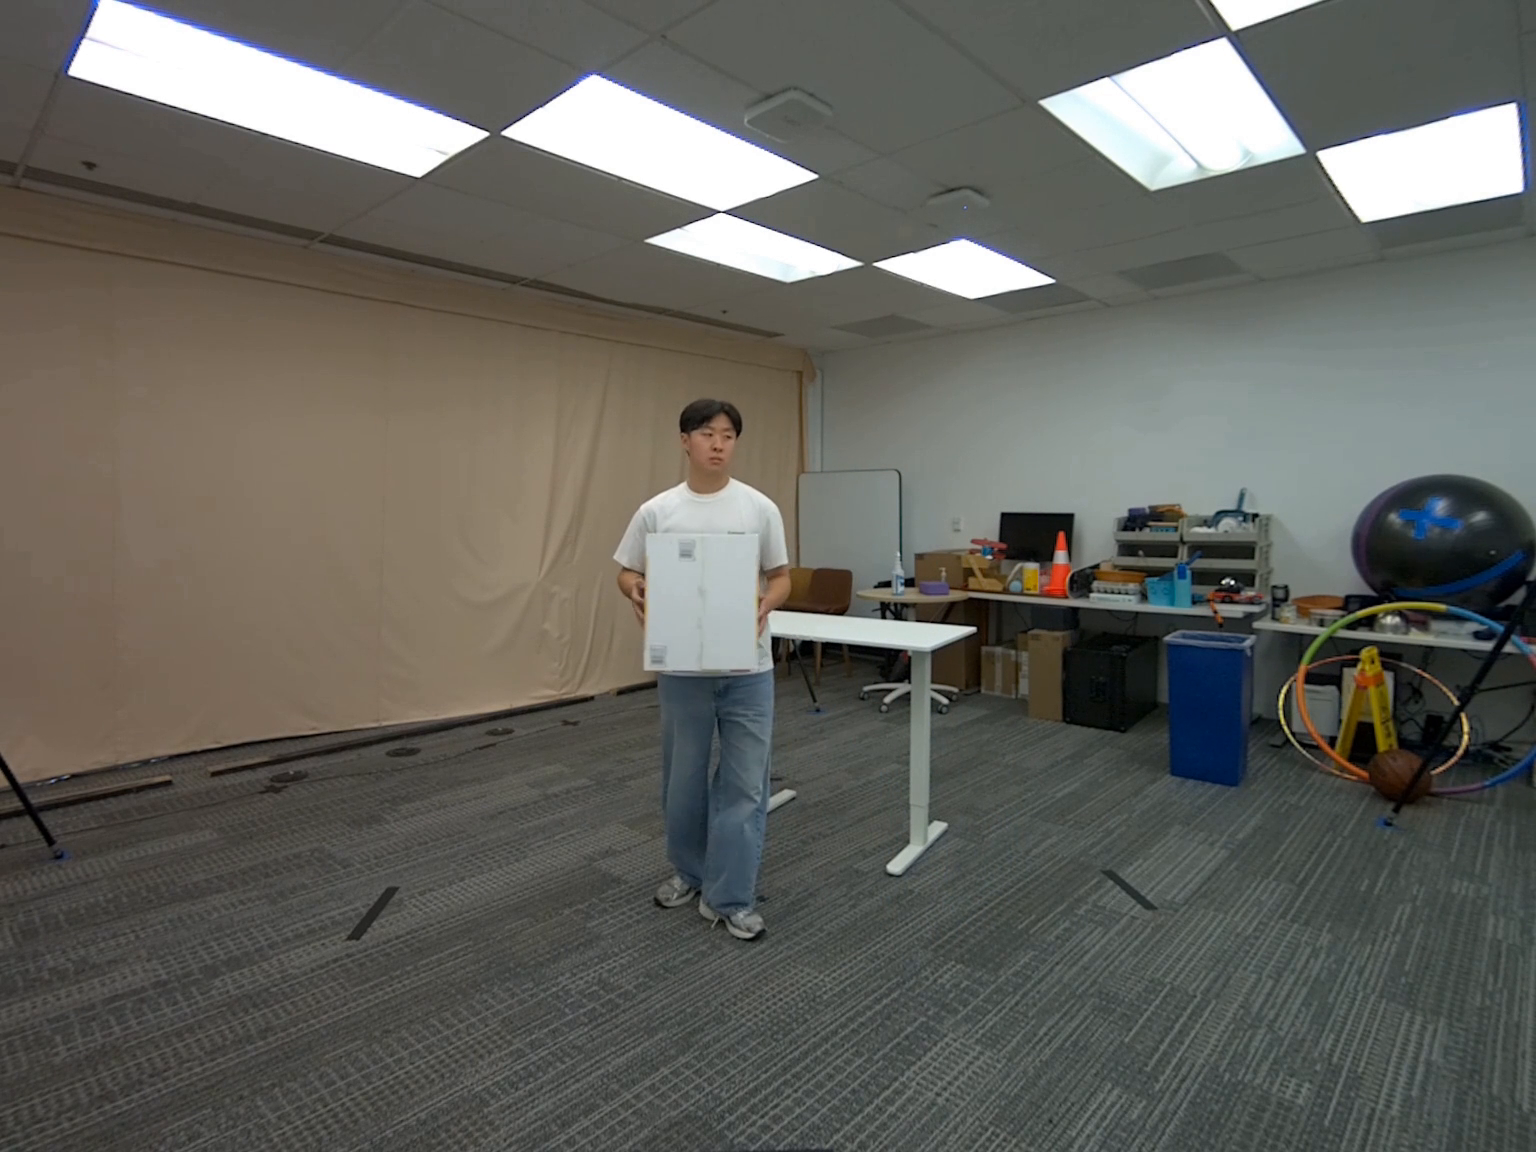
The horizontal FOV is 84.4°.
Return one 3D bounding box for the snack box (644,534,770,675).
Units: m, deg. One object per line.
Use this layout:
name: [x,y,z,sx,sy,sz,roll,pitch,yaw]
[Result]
snack box: [-0.200,0.076,2.564,0.339,0.405,0.206,0,-1,-3]
